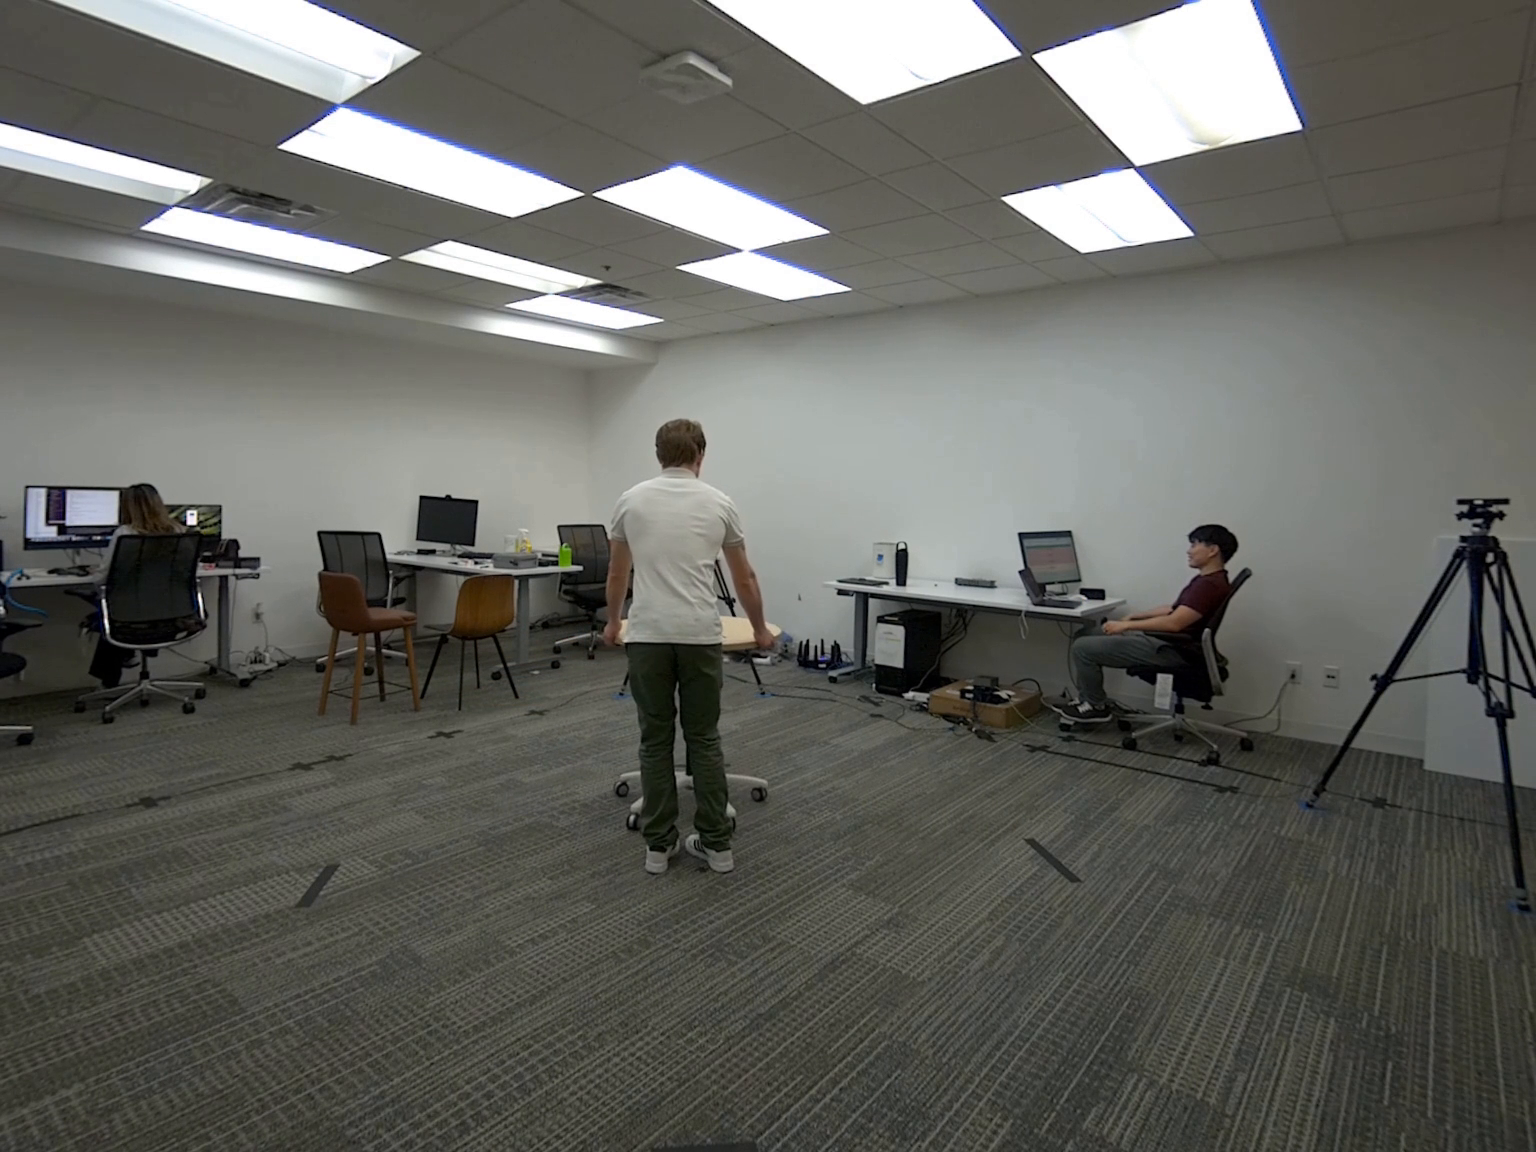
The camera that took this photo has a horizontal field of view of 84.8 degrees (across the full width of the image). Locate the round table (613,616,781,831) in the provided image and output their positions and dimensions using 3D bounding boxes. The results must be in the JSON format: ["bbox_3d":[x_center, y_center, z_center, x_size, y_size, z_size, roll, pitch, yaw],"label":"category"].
[{"bbox_3d":[-0.340,0.617,3.714,0.763,0.791,0.768,1,4,-2],"label":"round table"}]
